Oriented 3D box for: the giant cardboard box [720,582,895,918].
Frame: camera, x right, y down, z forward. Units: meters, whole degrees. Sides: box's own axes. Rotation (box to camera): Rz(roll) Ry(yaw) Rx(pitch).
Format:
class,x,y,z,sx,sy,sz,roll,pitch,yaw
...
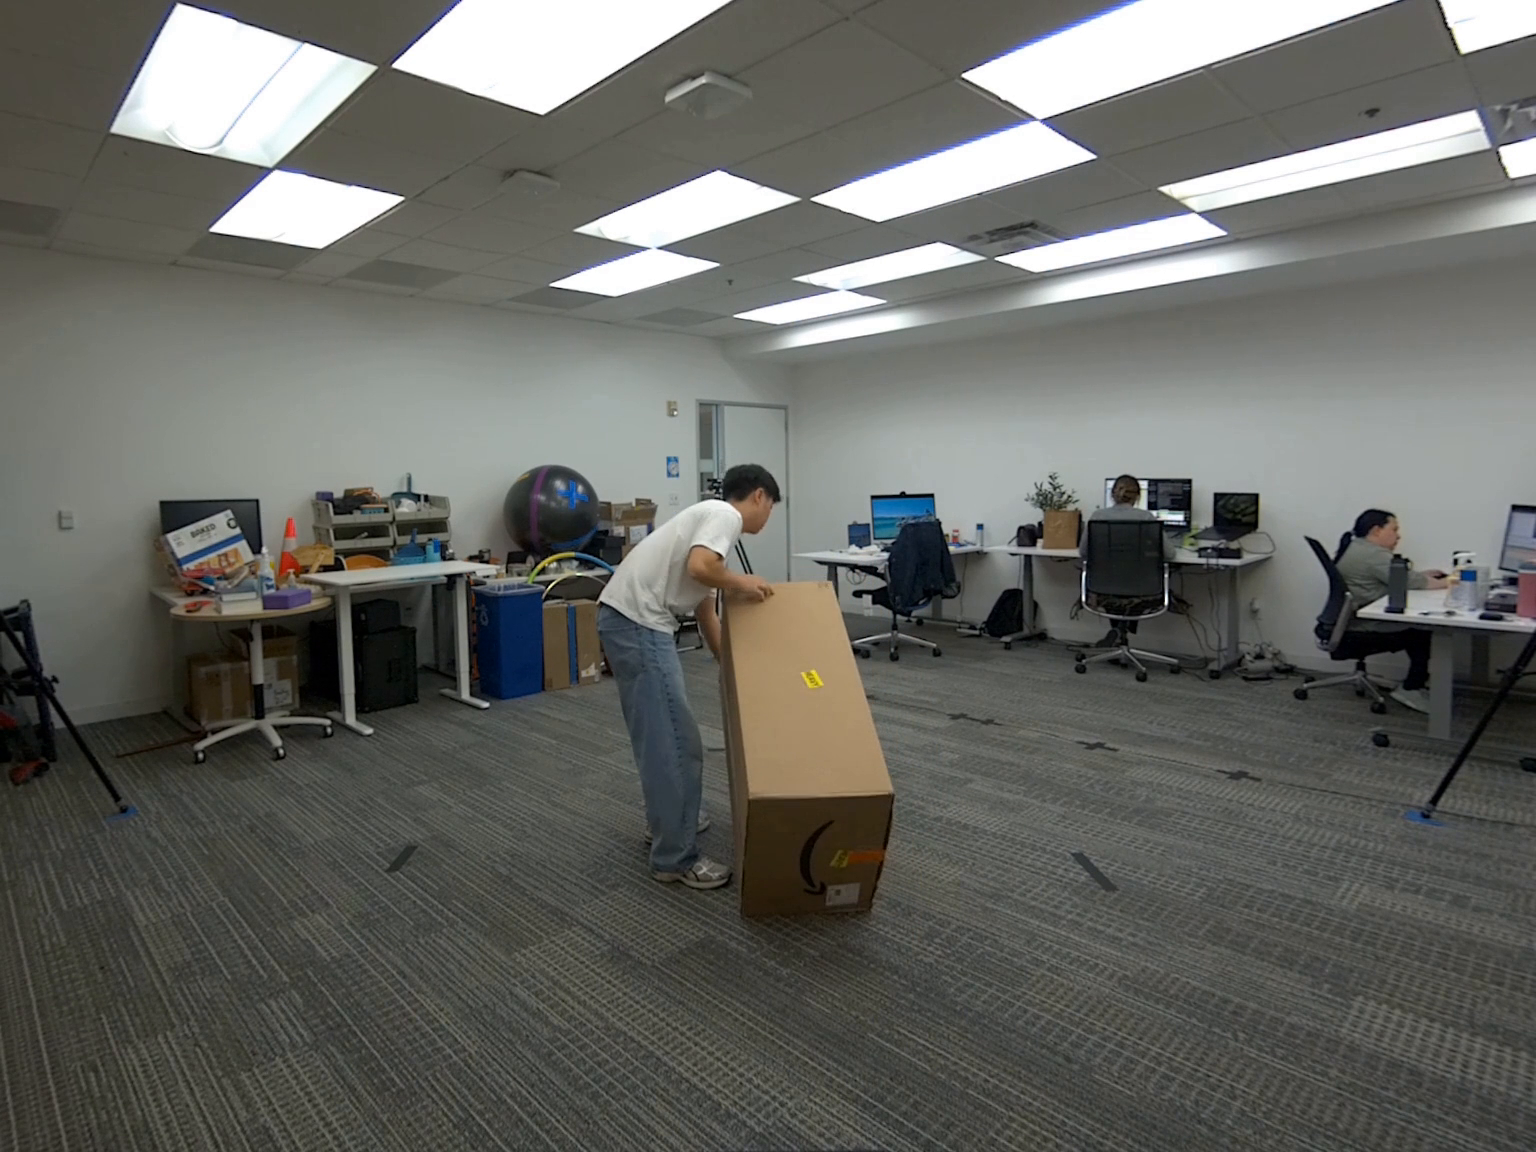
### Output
class,x,y,z,sx,sy,sz,roll,pitch,yaw
giant cardboard box,0.089,0.559,3.008,0.424,0.564,1.056,-2,35,-7
